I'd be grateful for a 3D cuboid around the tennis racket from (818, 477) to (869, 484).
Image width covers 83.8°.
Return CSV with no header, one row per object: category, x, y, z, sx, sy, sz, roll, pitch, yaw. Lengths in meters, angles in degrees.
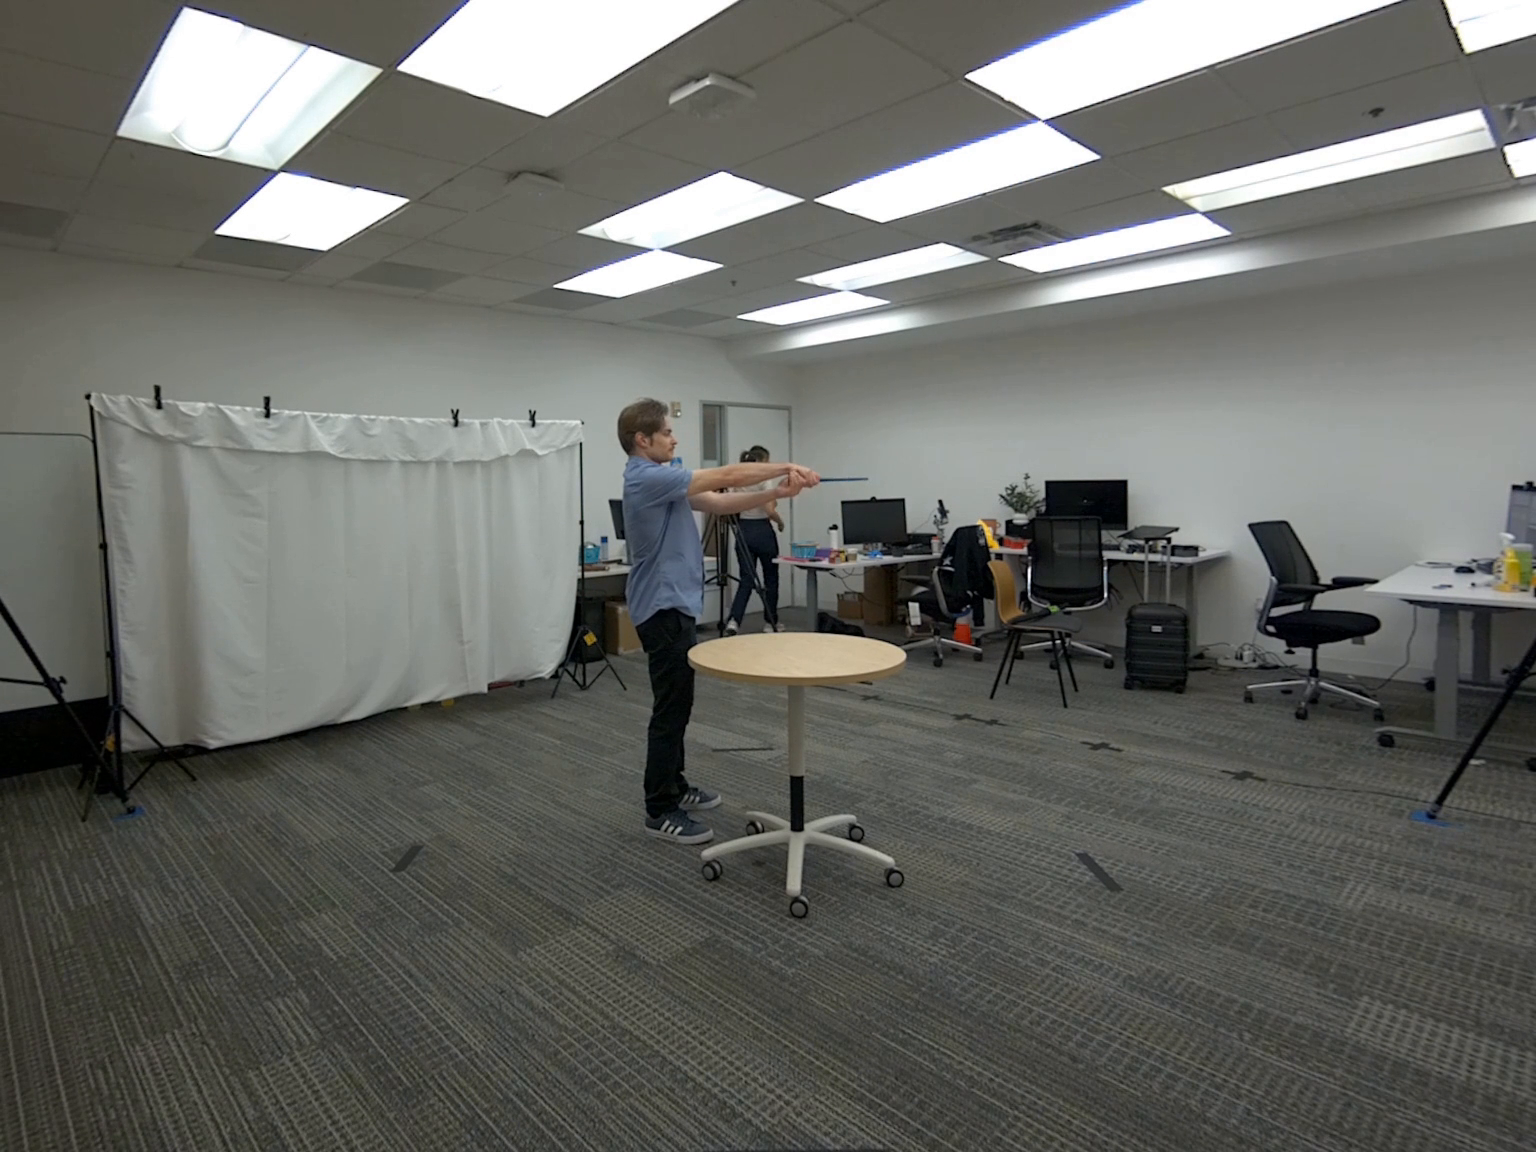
tennis racket,0.213,-0.400,3.514,0.422,0.031,0.220,-8,9,-37
